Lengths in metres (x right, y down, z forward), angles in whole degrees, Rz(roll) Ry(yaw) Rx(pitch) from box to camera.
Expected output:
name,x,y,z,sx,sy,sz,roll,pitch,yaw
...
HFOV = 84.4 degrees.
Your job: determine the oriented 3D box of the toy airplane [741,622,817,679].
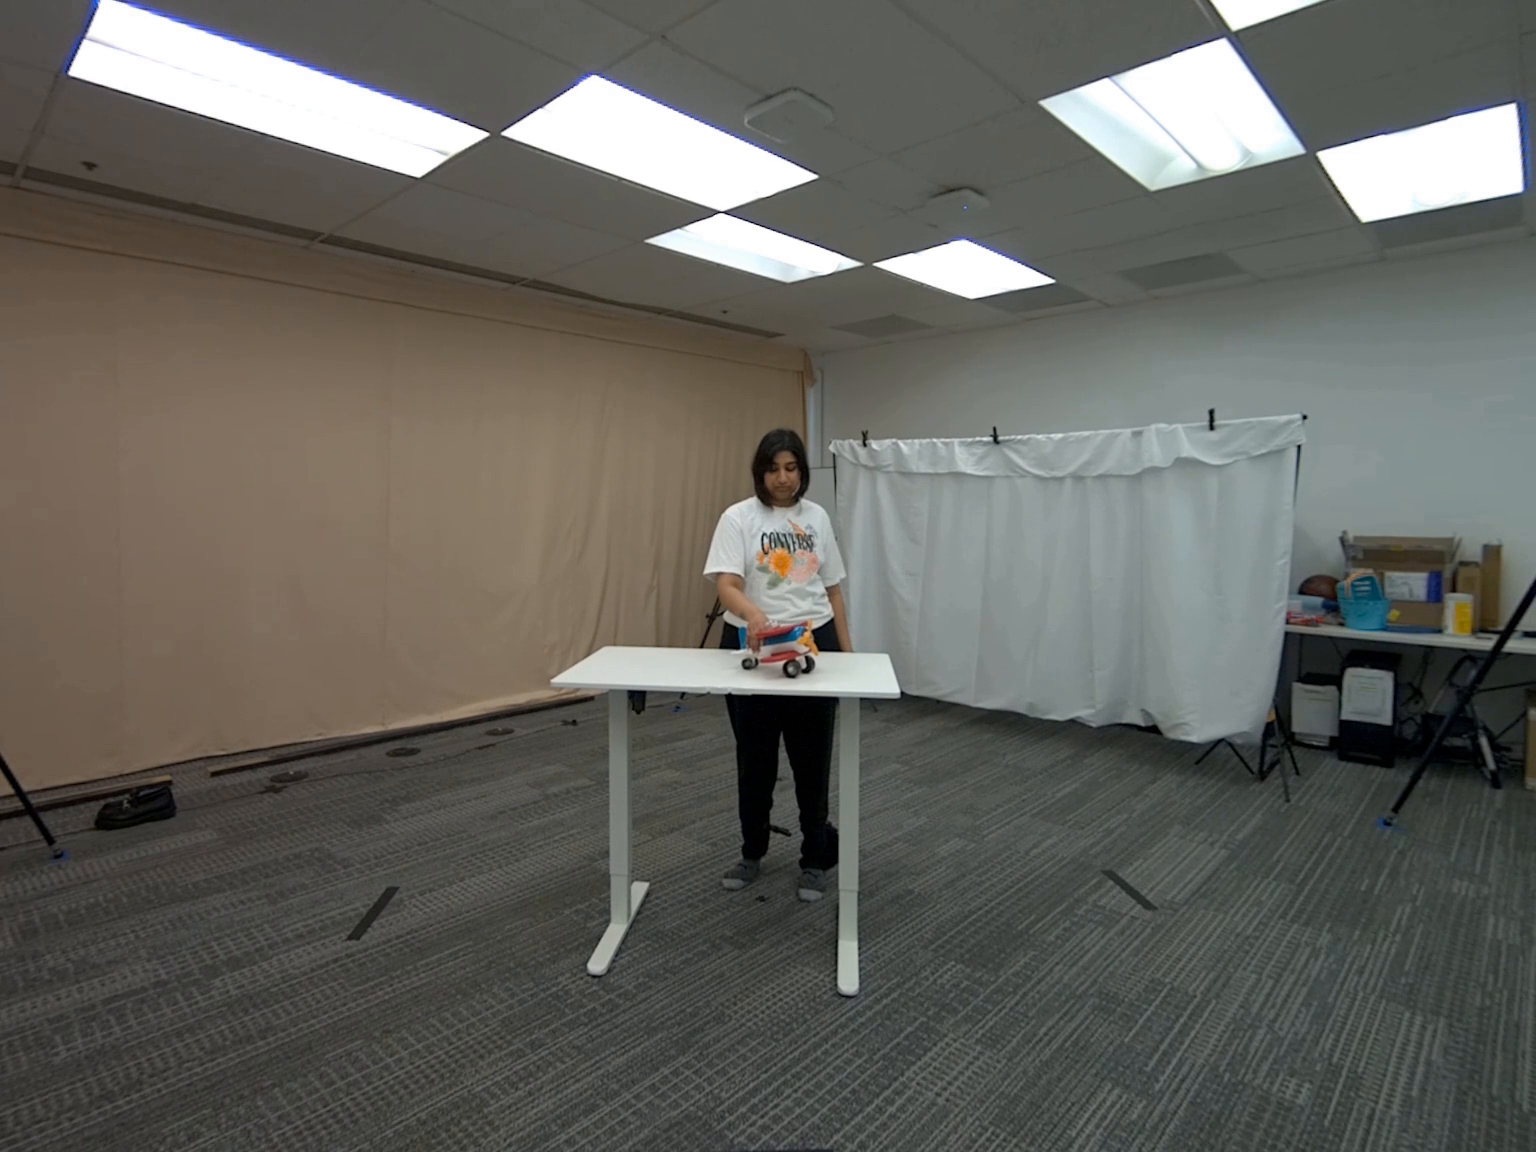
name,x,y,z,sx,sy,sz,roll,pitch,yaw
toy airplane,0.021,0.221,2.570,0.261,0.156,0.250,1,5,6
